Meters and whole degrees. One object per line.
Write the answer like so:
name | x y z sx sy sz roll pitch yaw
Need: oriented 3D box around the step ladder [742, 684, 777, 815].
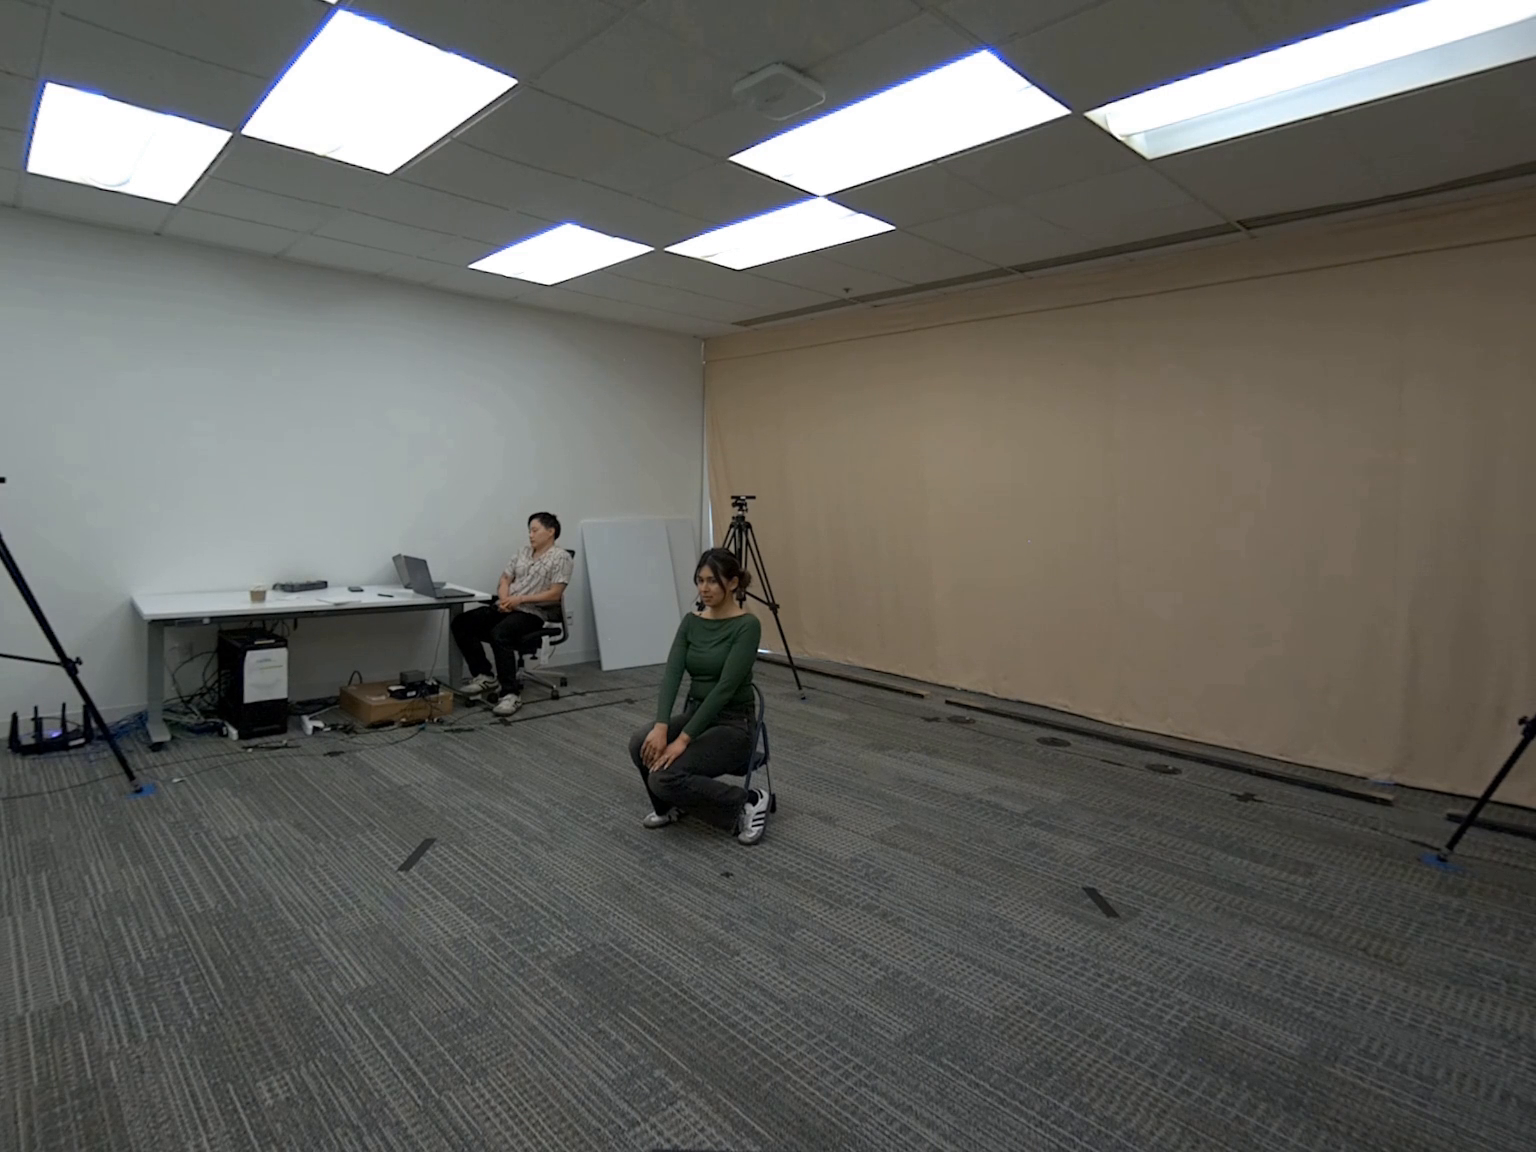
step ladder | -0.218 0.753 3.702 0.440 0.605 0.342 4 4 31
